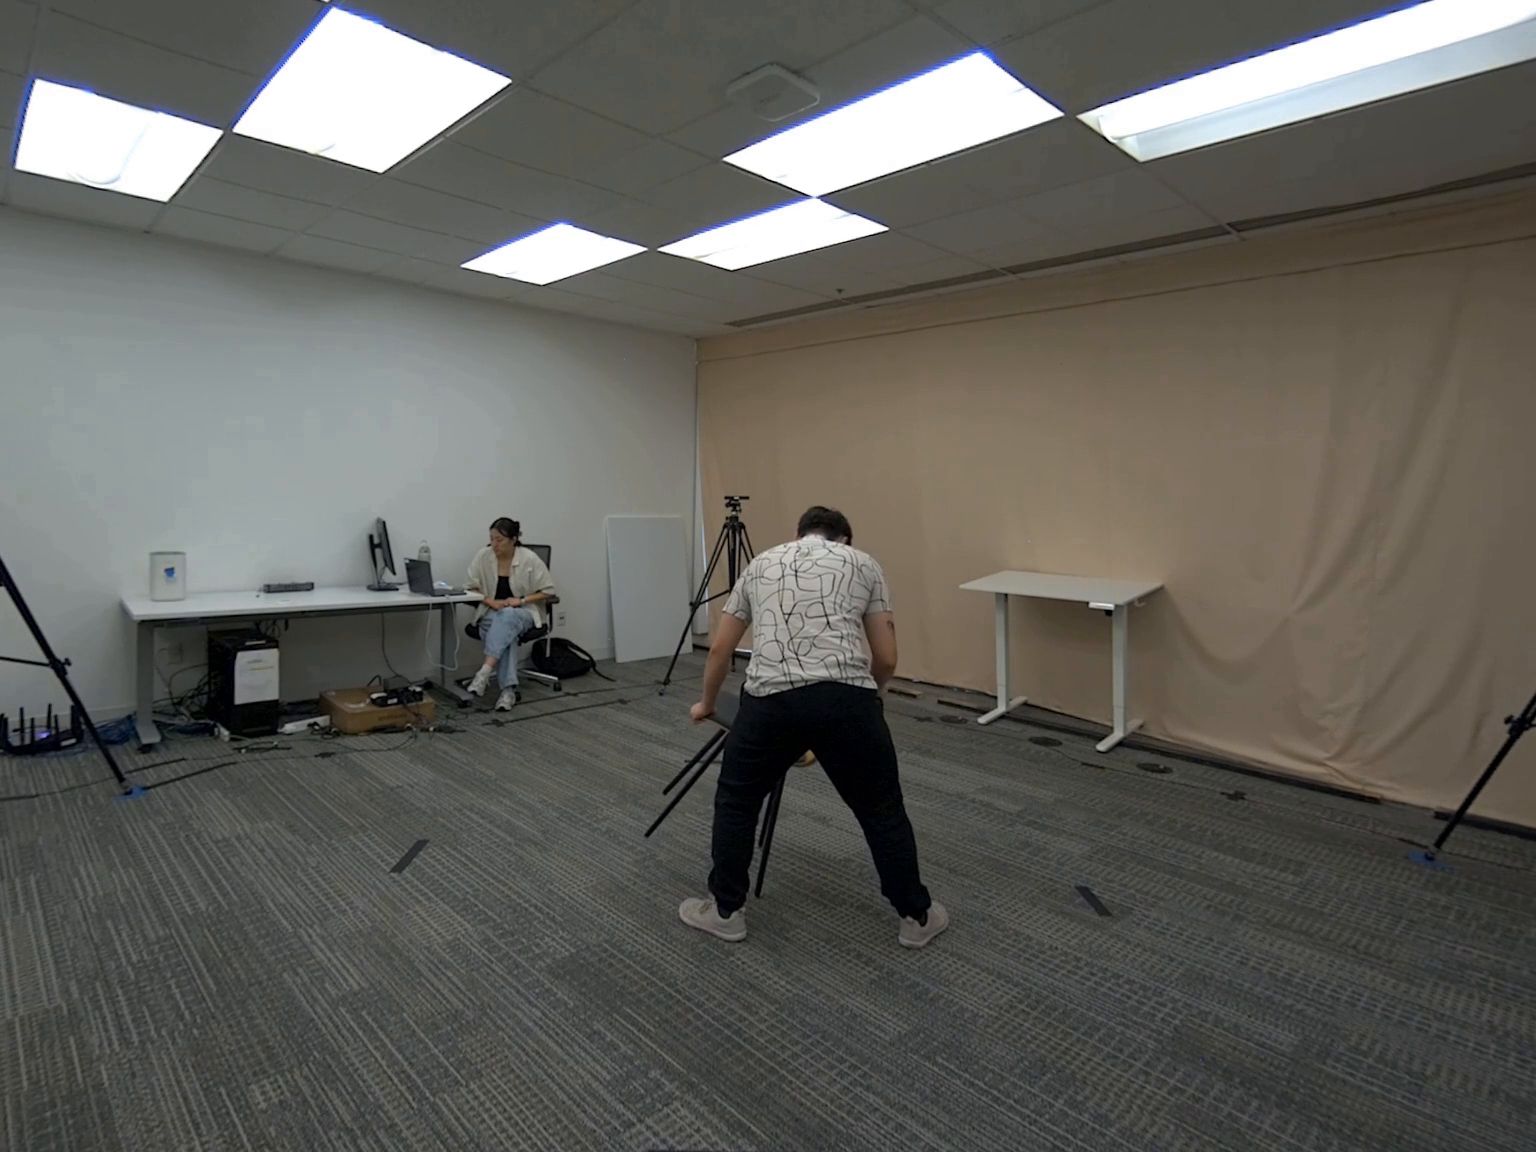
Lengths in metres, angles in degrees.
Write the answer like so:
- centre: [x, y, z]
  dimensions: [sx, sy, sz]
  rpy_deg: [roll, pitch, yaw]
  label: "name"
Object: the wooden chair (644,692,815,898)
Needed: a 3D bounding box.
- centre: [-0.043, 0.622, 3.121]
  dimensions: [0.523, 0.876, 0.478]
  rpy_deg: [32, 4, -1]
  label: "wooden chair"
